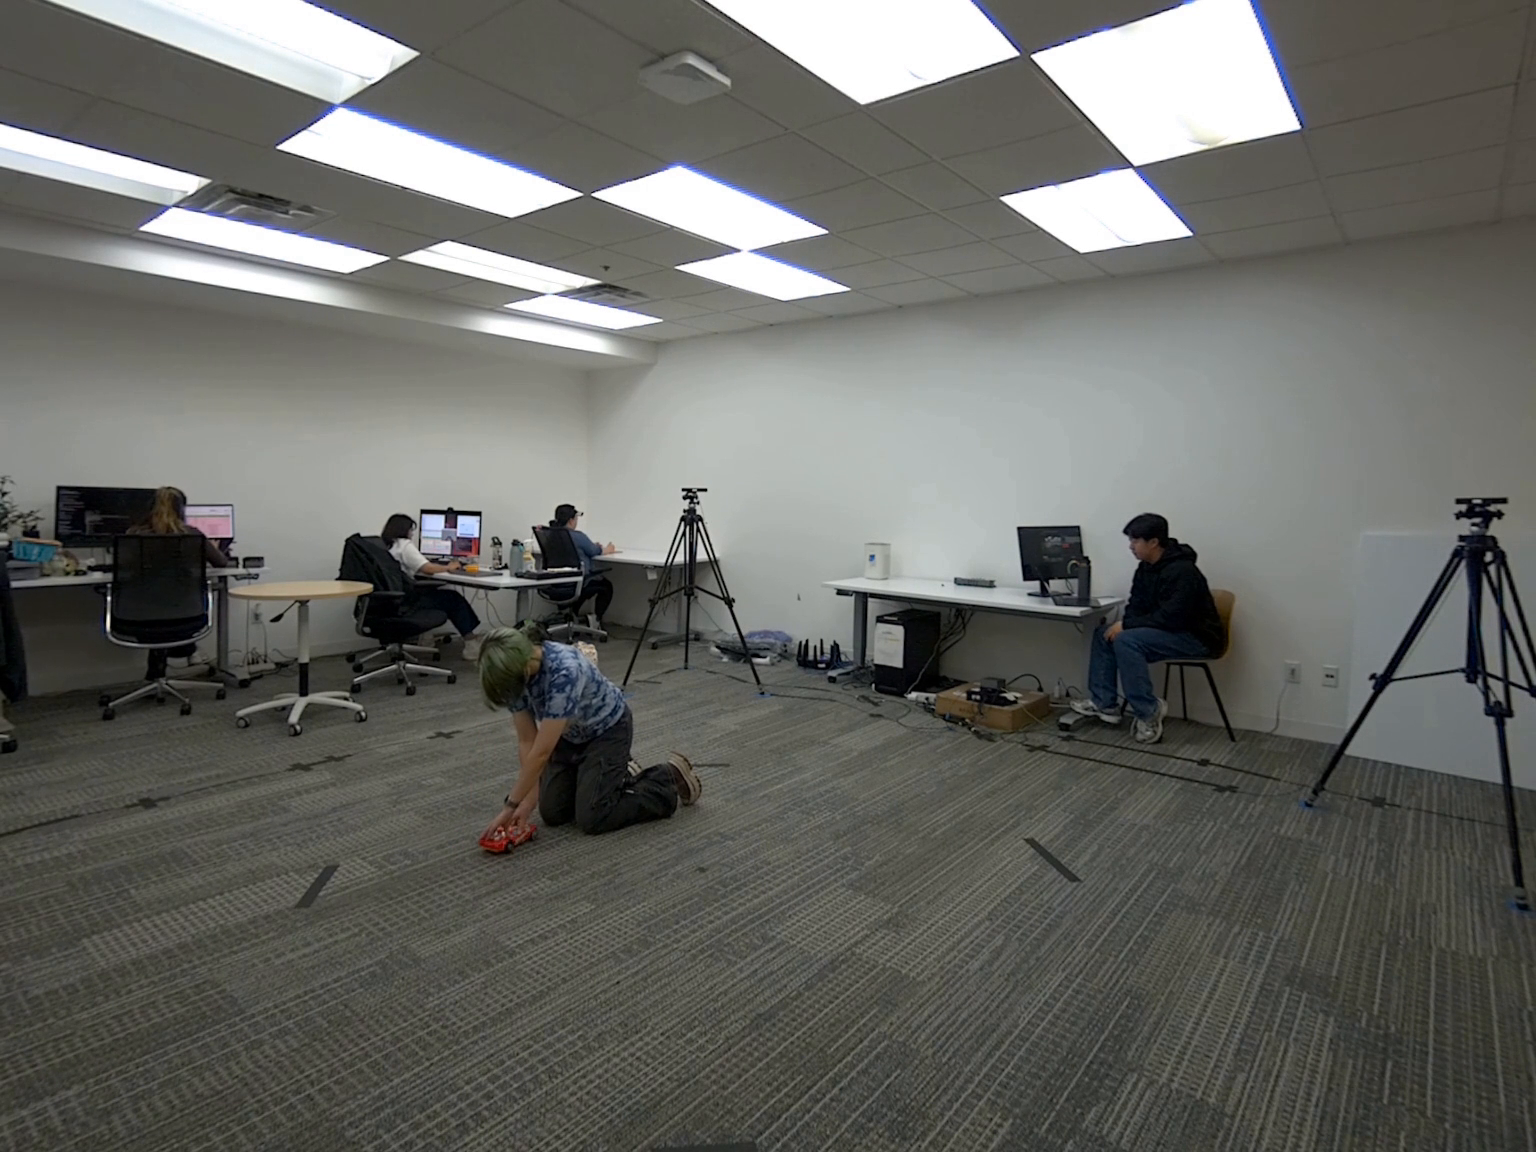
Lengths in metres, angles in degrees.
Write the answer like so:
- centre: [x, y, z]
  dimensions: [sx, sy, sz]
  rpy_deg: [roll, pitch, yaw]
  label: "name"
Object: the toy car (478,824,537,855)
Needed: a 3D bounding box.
- centre: [-1.029, 1.015, 3.285]
  dimensions: [0.134, 0.084, 0.246]
  rpy_deg: [2, -7, 27]
  label: "toy car"
